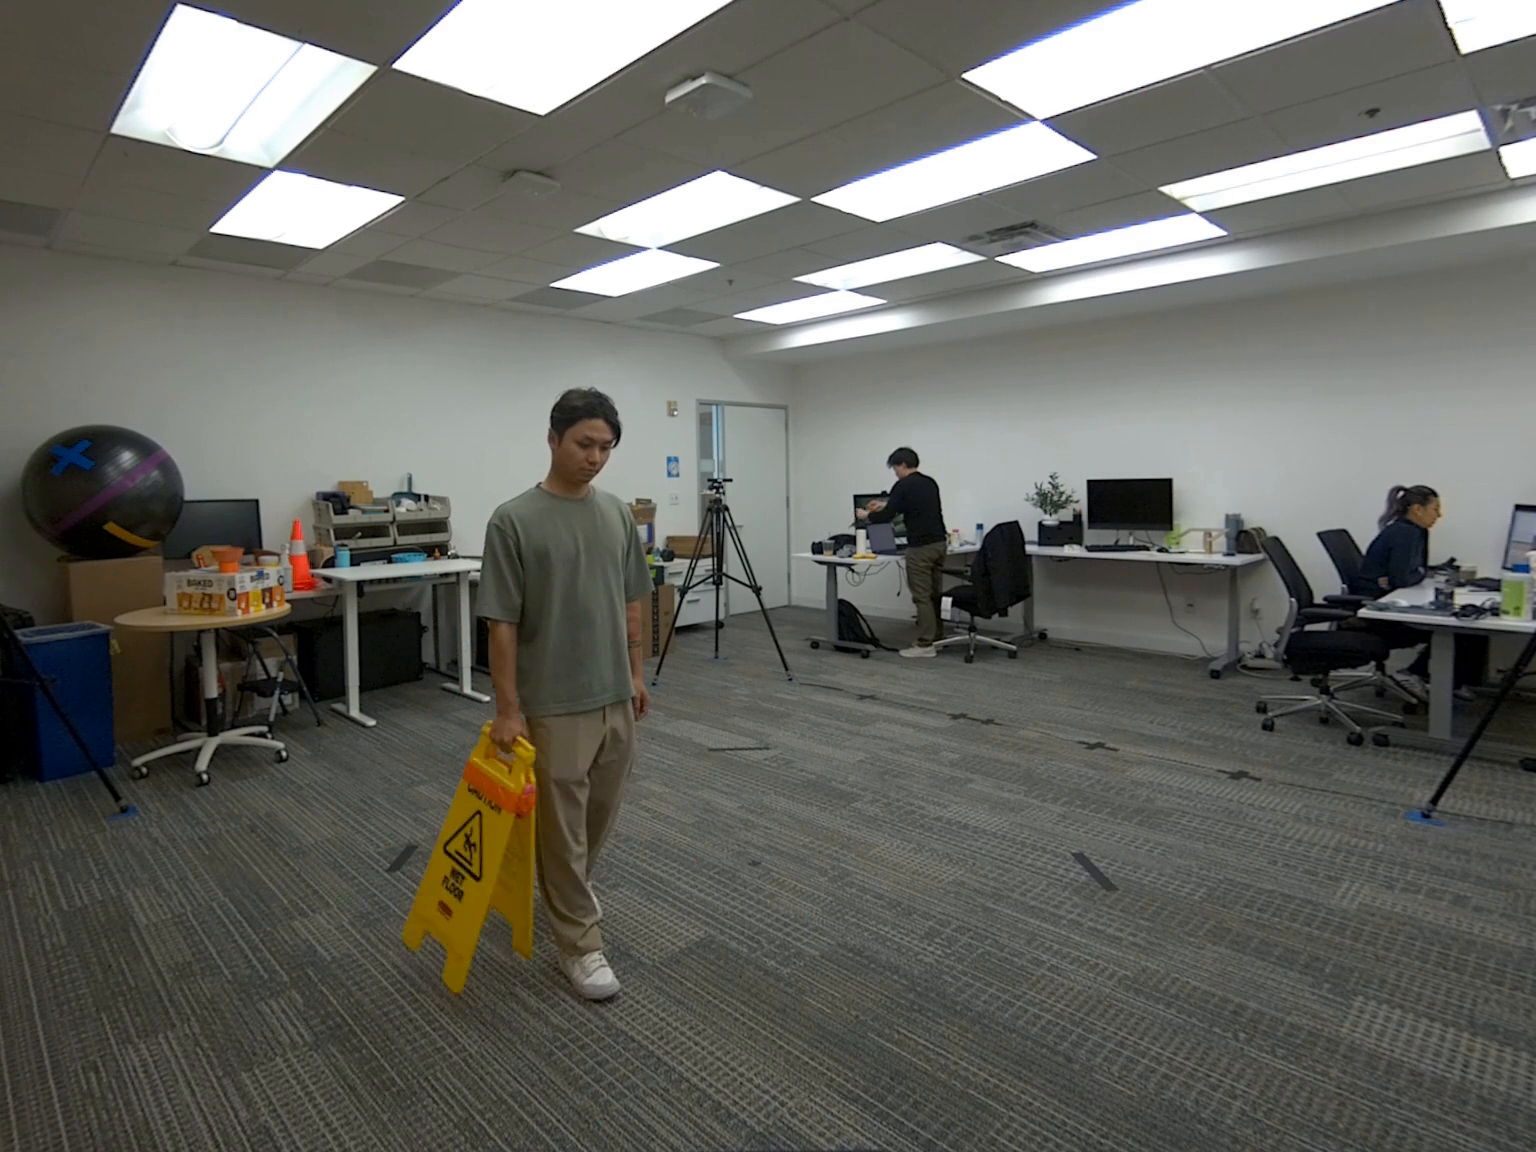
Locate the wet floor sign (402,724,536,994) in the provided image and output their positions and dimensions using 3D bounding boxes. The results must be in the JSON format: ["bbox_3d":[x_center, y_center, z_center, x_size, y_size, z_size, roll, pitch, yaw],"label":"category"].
[{"bbox_3d":[-0.758,0.736,2.350,0.292,0.642,0.281,20,10,34],"label":"wet floor sign"}]
